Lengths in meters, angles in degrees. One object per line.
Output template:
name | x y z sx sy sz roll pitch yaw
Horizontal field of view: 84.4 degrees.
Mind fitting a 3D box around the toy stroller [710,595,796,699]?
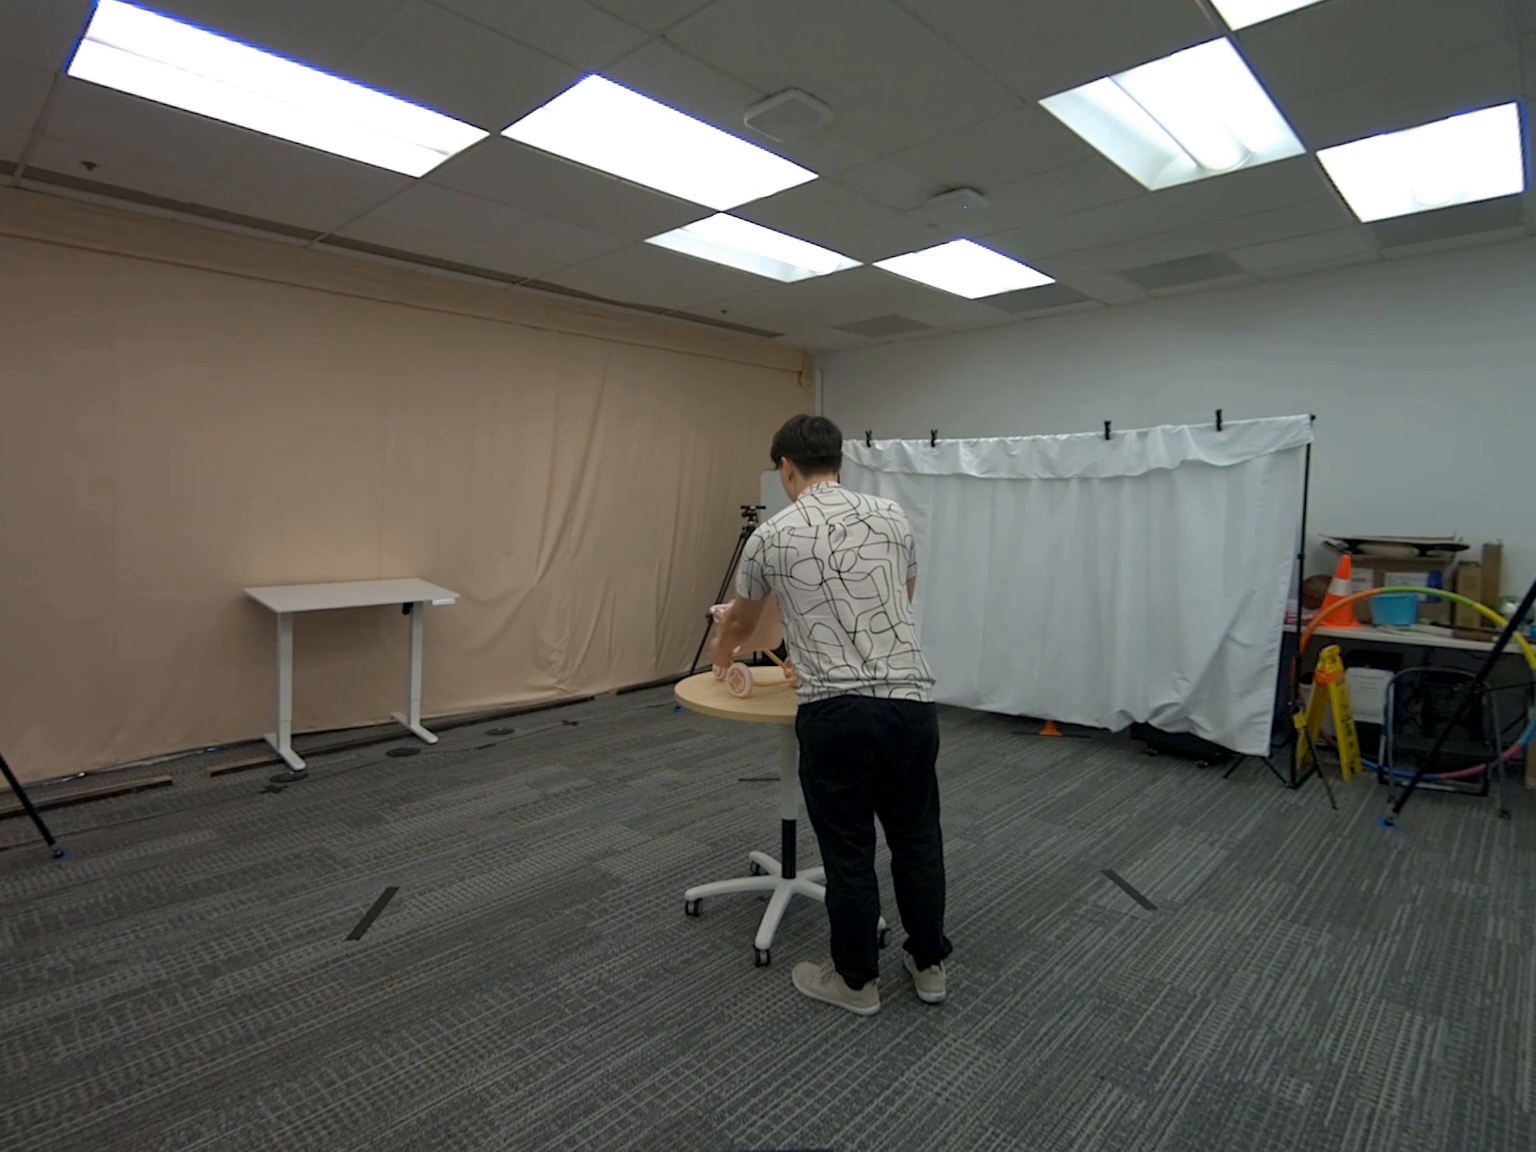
toy stroller | -0.029 0.150 2.780 0.273 0.531 0.354 -1 20 -39
